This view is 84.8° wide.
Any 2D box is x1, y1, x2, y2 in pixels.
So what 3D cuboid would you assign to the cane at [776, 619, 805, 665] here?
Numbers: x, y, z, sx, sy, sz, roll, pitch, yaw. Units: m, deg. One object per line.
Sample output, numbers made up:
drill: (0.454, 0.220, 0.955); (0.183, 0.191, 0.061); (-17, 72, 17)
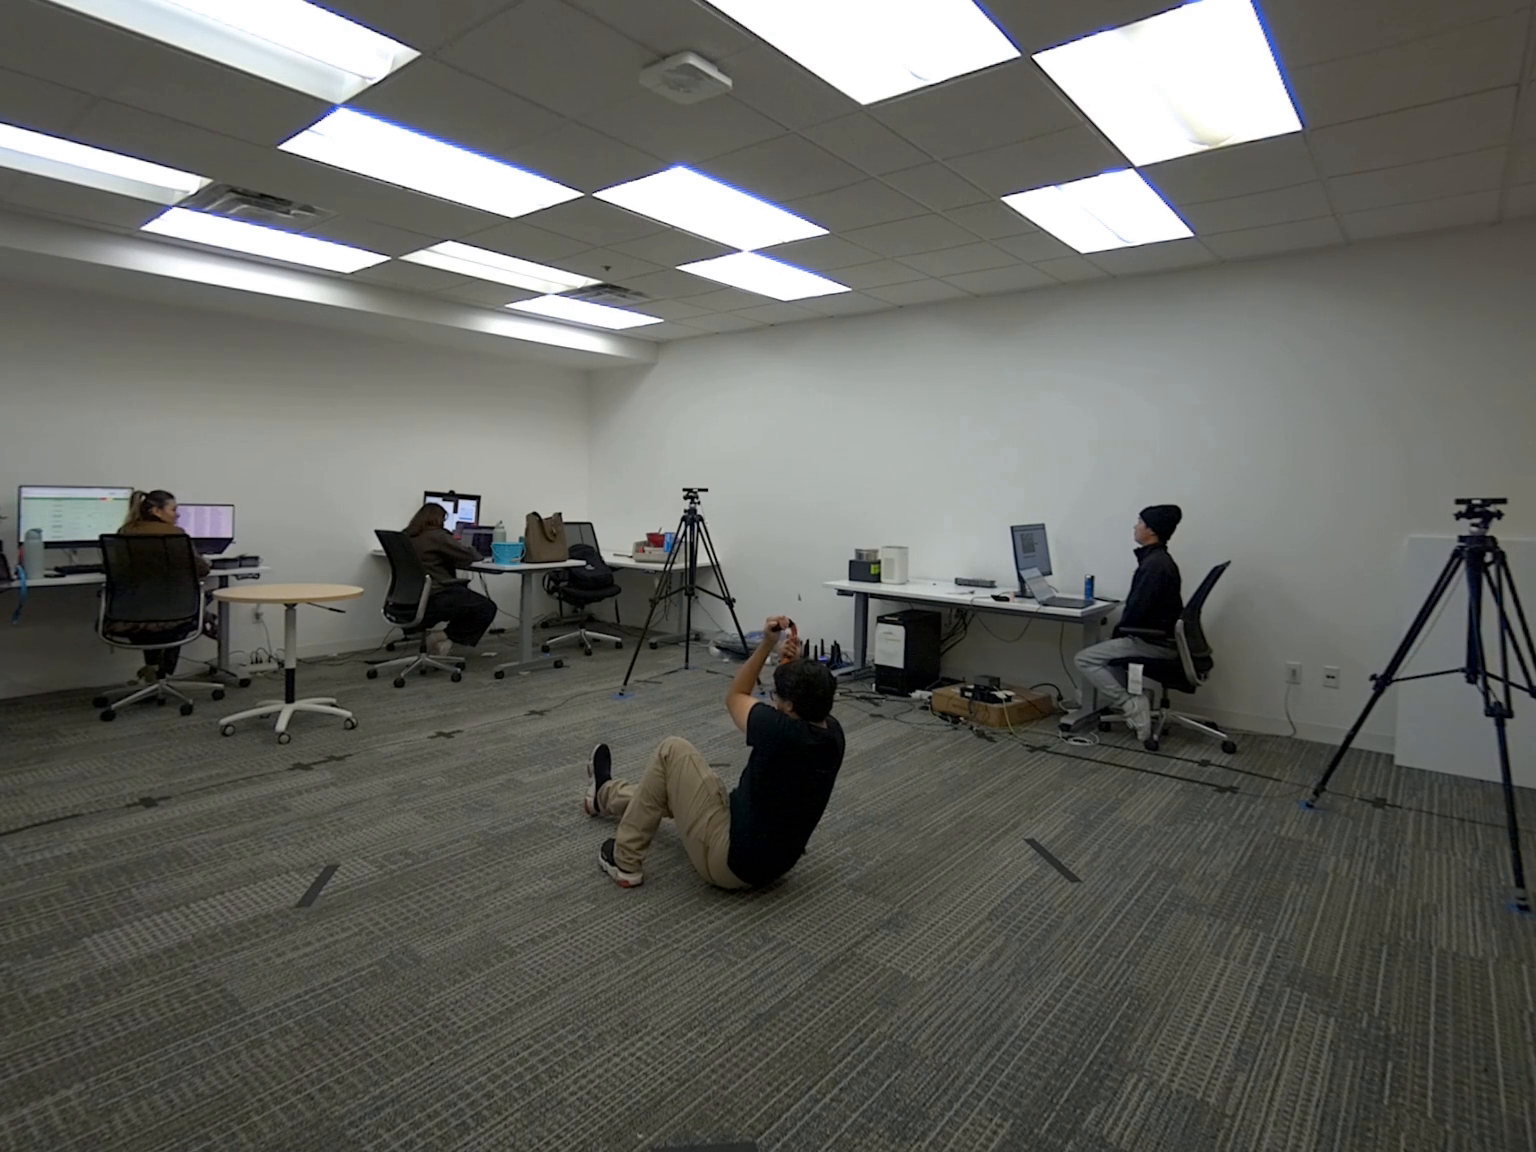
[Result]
cane: (0.052, 0.605, 3.197); (0.156, 0.904, 0.201); (6, 5, 32)
